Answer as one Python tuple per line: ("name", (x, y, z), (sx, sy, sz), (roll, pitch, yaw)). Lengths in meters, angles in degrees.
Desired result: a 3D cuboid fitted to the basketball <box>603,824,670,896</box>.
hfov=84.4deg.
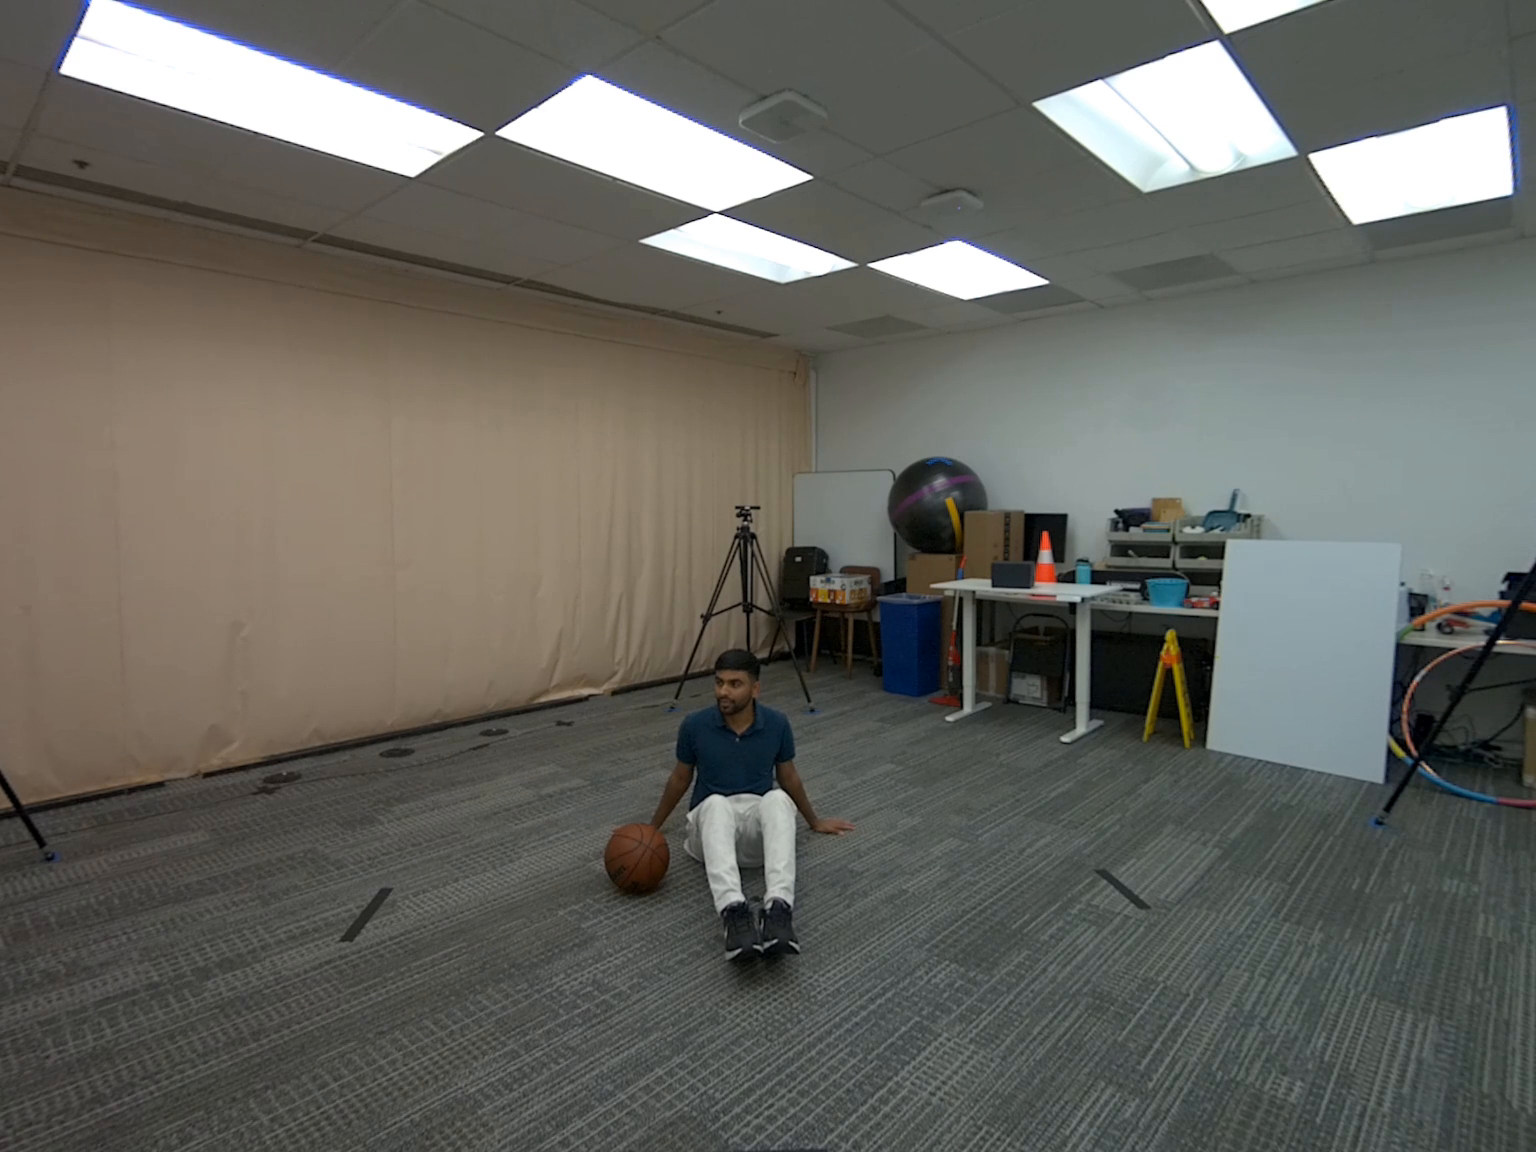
("basketball", (-0.475, 1.022, 3.059), (0.236, 0.235, 0.237), (0, 4, -2))
